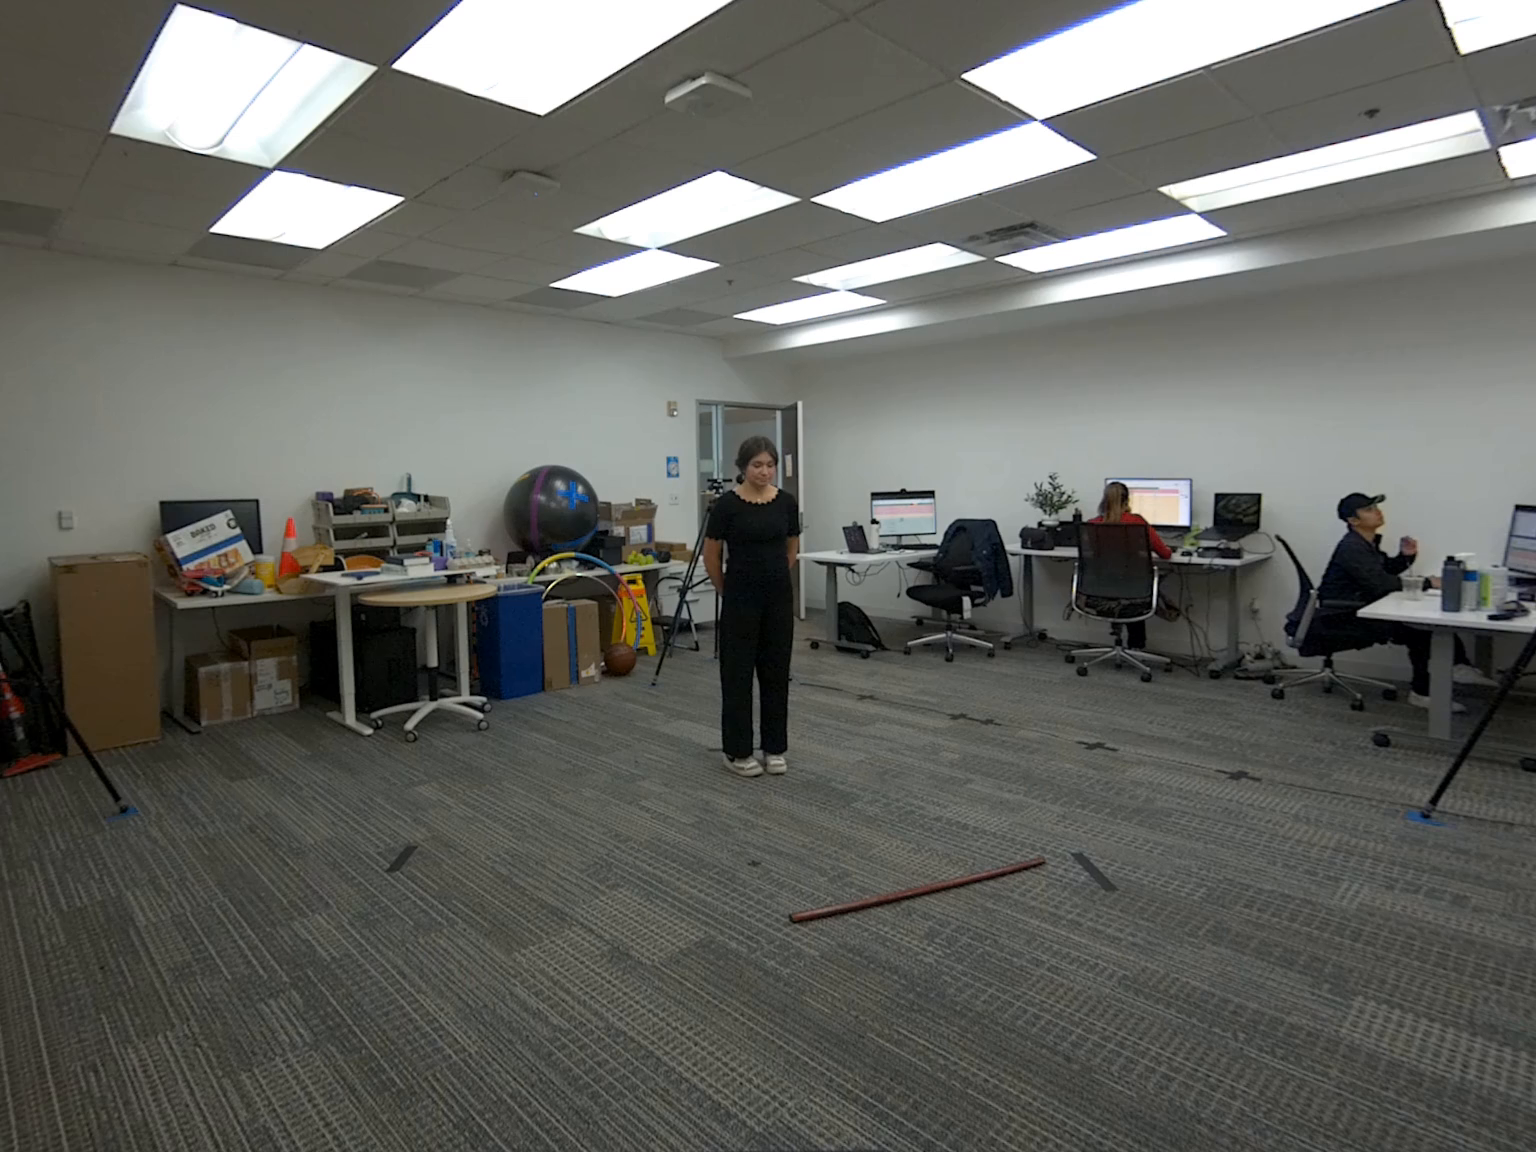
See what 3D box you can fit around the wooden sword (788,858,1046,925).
[{"bbox_3d":[0.524,1.038,2.882,1.006,0.024,0.053,-3,26,-21],"label":"wooden sword"}]
